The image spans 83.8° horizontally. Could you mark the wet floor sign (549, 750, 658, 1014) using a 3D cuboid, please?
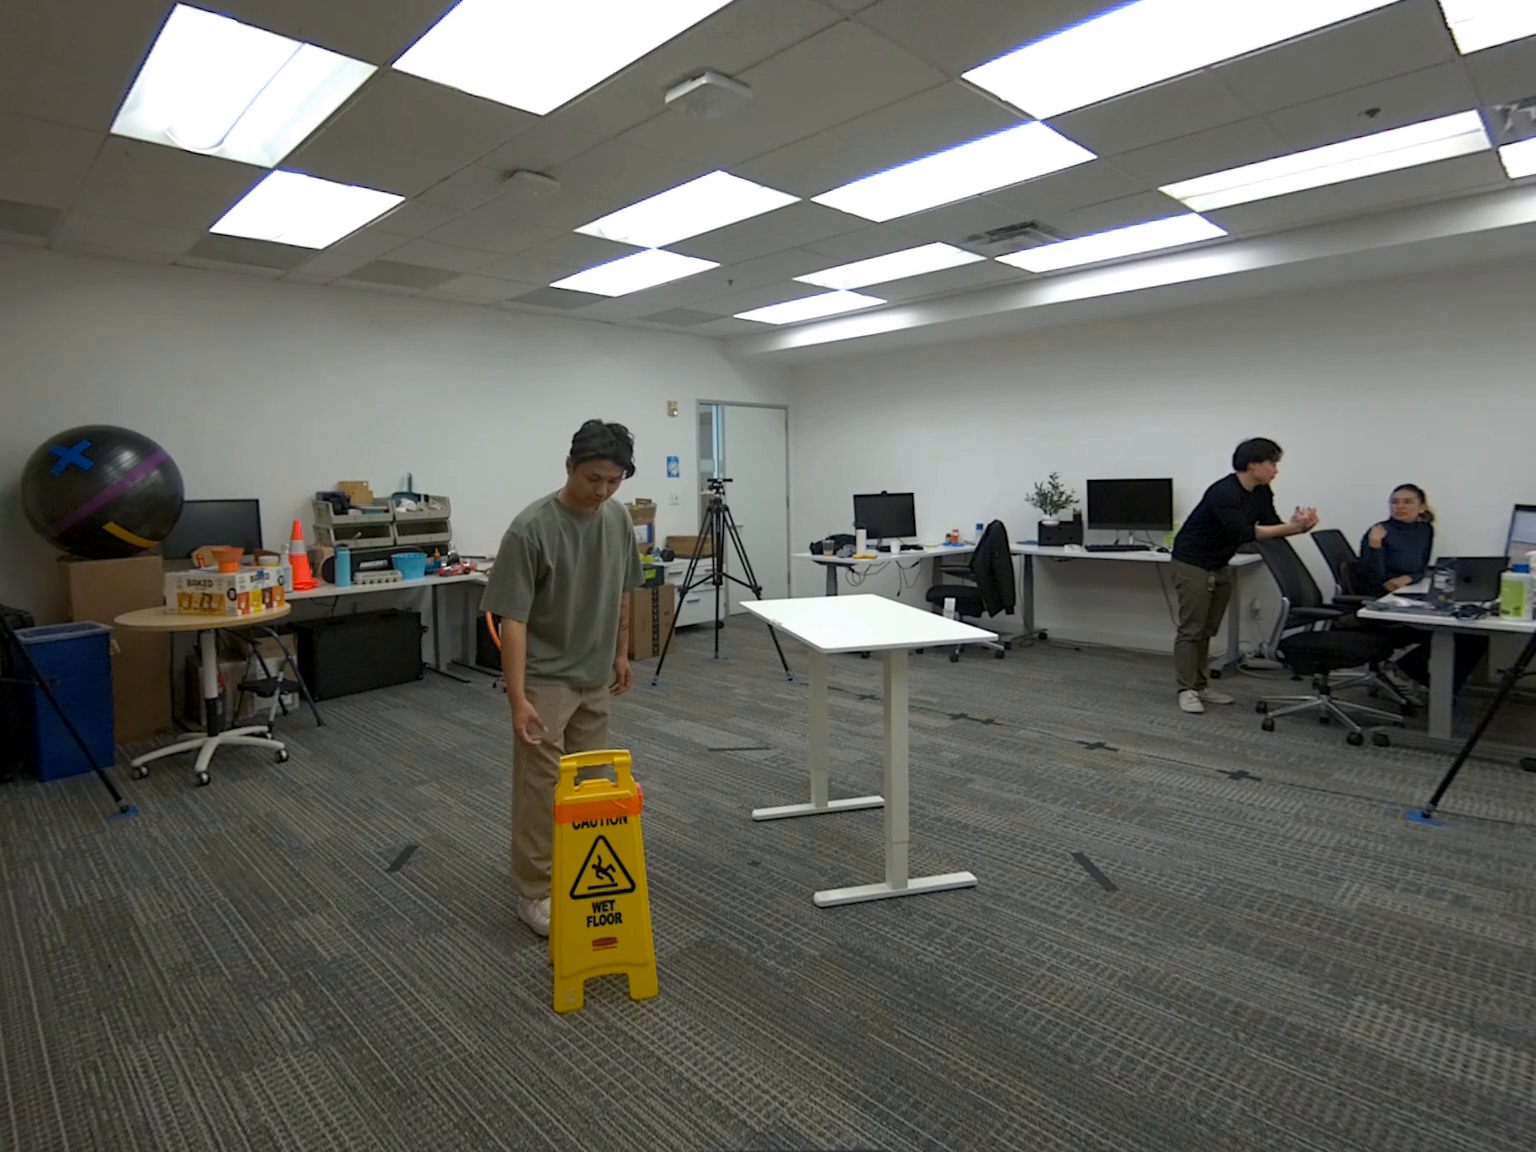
[{"bbox_3d":[-0.470,0.812,2.384,0.279,0.643,0.295,-3,5,-15],"label":"wet floor sign"}]
